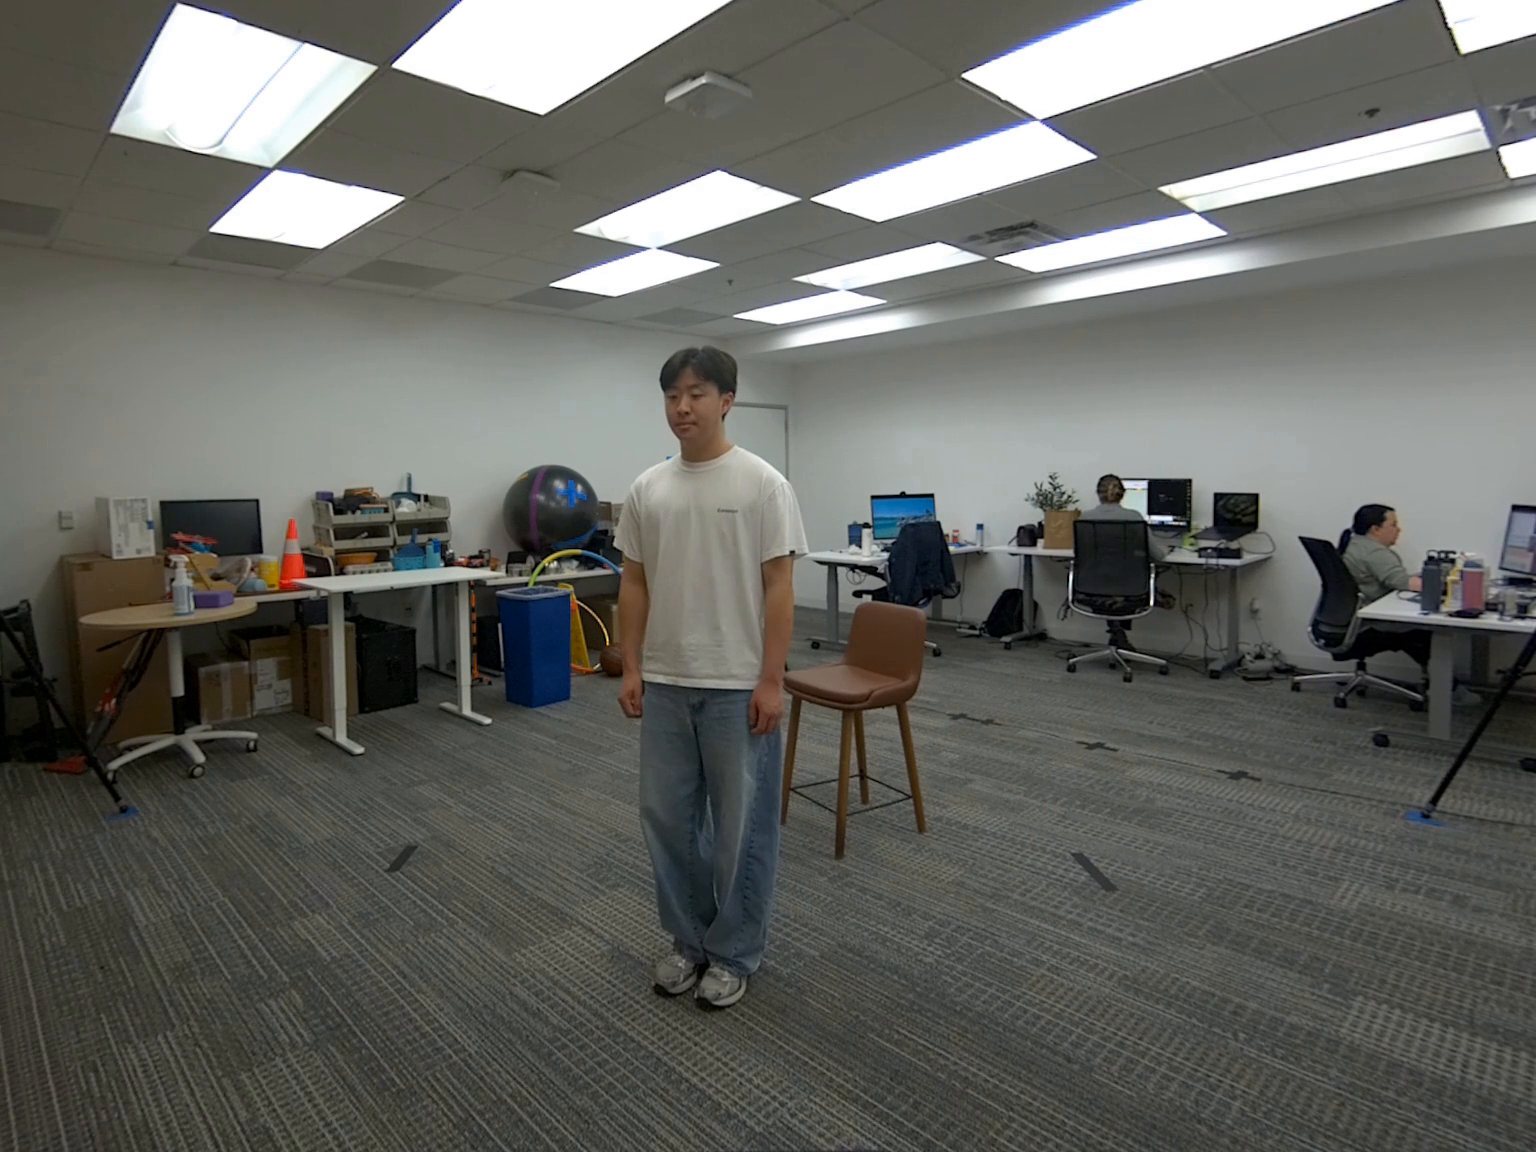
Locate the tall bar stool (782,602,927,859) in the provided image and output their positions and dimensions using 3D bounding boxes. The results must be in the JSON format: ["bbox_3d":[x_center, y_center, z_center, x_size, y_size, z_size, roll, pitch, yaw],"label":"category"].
[{"bbox_3d":[0.336,0.569,3.391,0.456,0.887,0.469,-1,4,-32],"label":"tall bar stool"}]
